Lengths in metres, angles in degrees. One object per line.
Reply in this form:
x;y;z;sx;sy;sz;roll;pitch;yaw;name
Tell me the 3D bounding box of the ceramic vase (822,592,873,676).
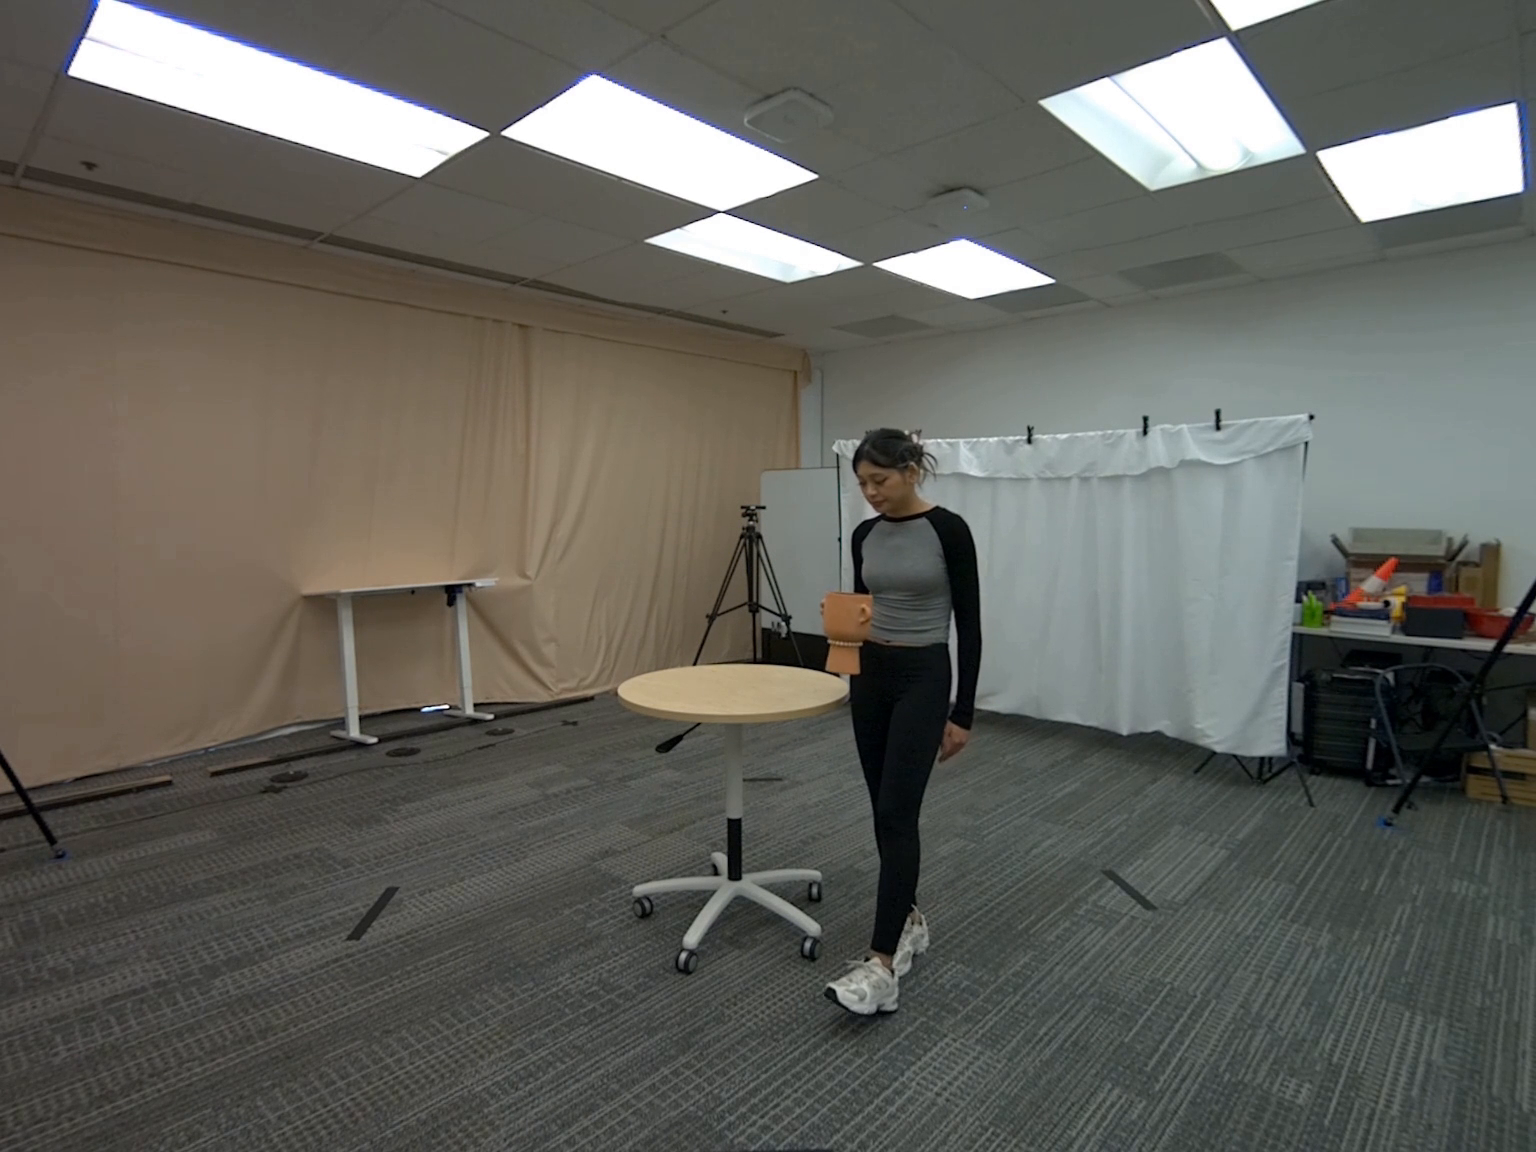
0.235;0.163;2.372;0.136;0.219;0.157;6;1;7;ceramic vase
